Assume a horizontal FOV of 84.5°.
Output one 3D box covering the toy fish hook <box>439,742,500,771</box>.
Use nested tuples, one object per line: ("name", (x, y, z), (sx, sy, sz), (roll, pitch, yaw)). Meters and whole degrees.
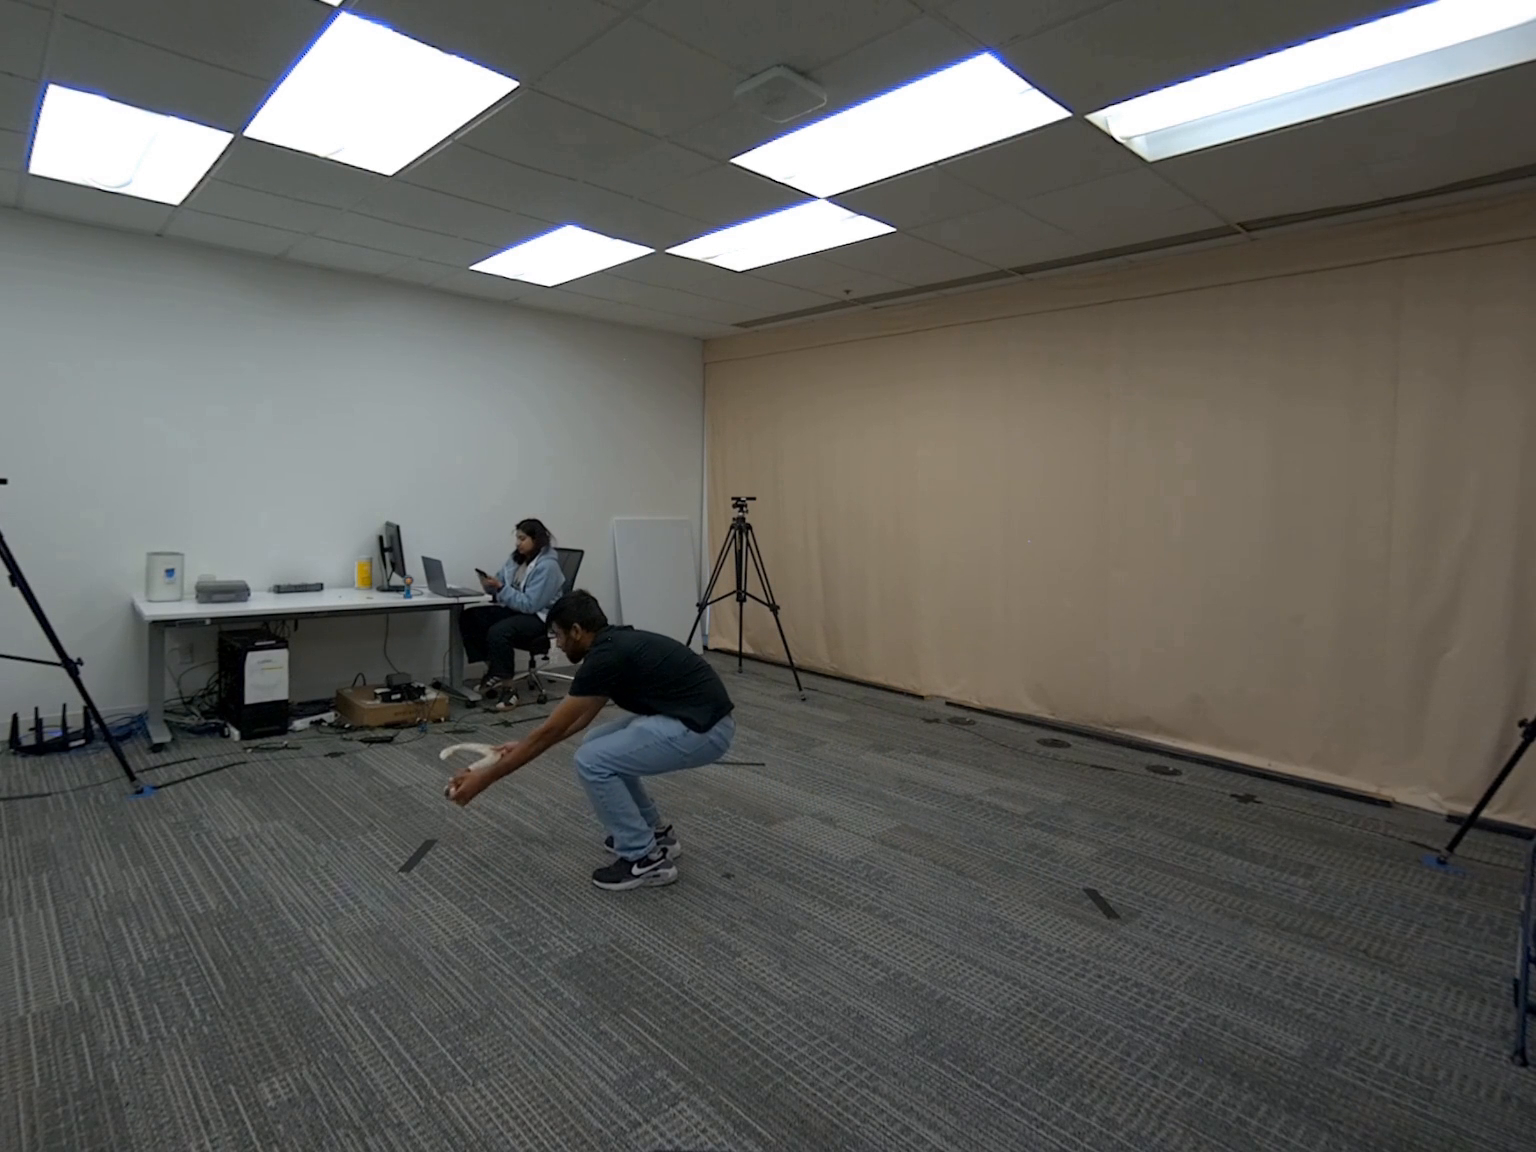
("toy fish hook", (-1.157, 0.735, 3.180), (0.225, 0.048, 0.508), (3, 6, -1))
